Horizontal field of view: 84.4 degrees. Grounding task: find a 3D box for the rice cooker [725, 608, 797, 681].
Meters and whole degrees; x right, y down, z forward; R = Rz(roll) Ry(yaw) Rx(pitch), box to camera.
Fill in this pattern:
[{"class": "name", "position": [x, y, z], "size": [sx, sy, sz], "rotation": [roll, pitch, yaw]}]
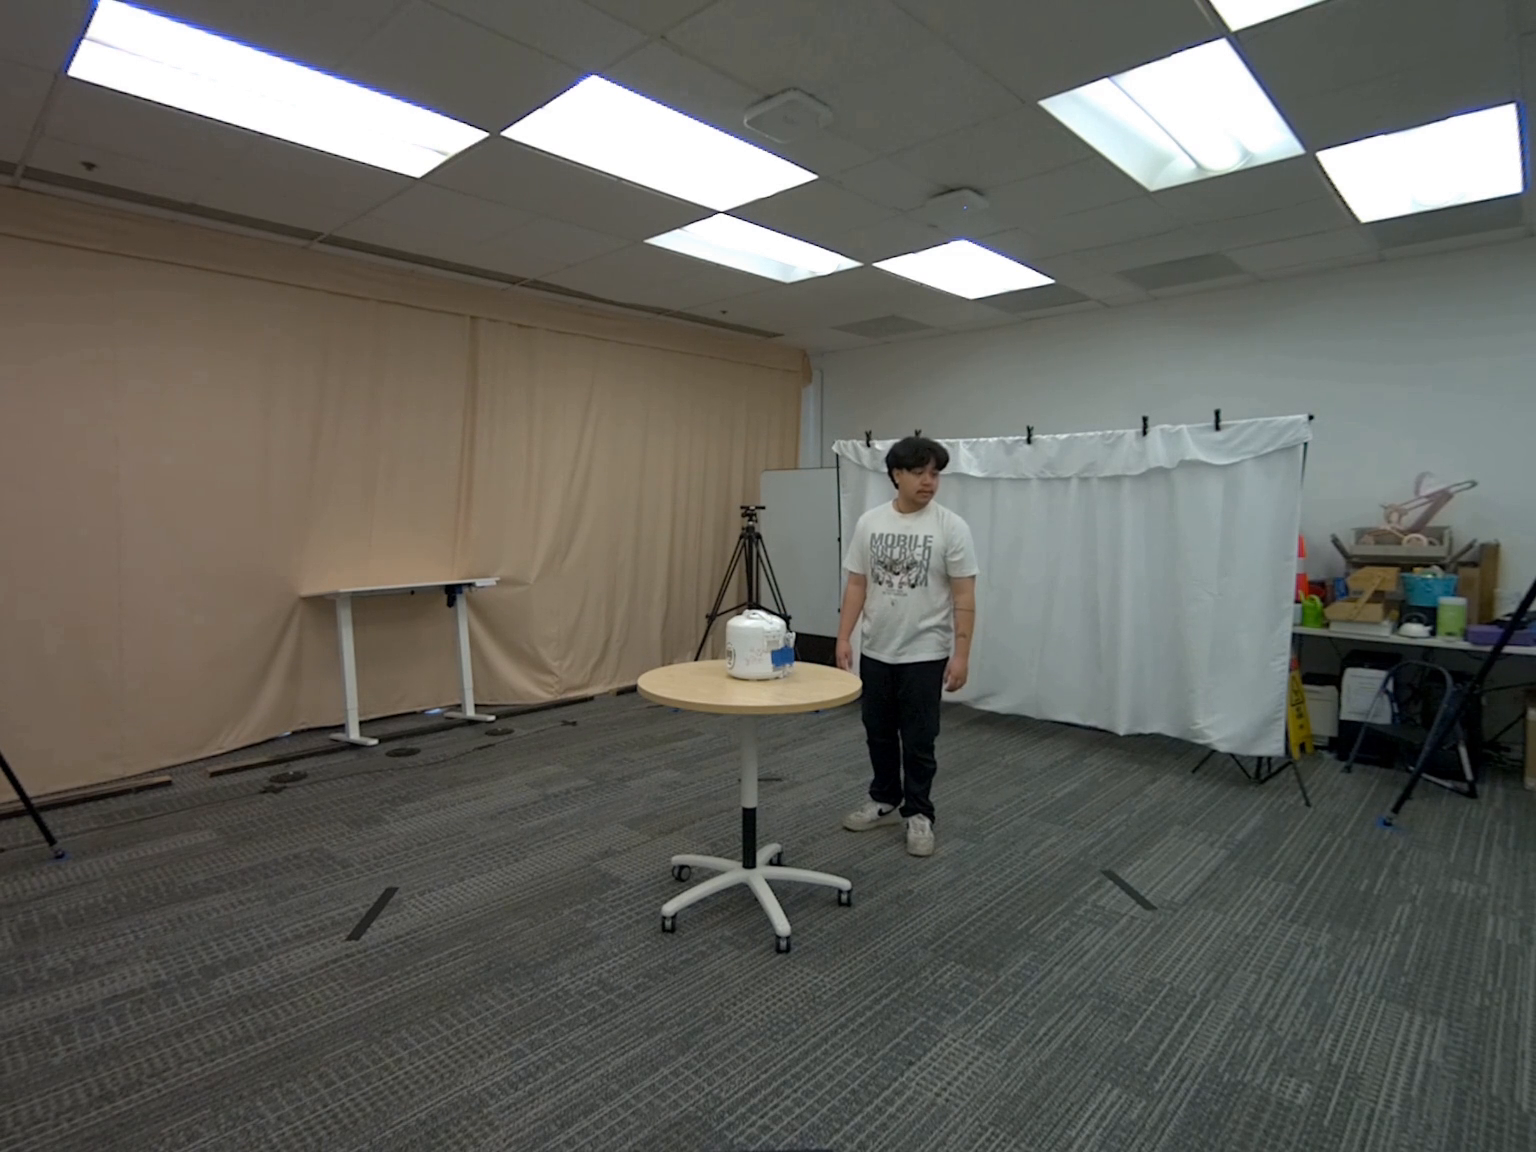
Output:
[{"class": "rice cooker", "position": [-0.042, 0.234, 2.936], "size": [0.211, 0.232, 0.227], "rotation": [-1, 4, -31]}]
